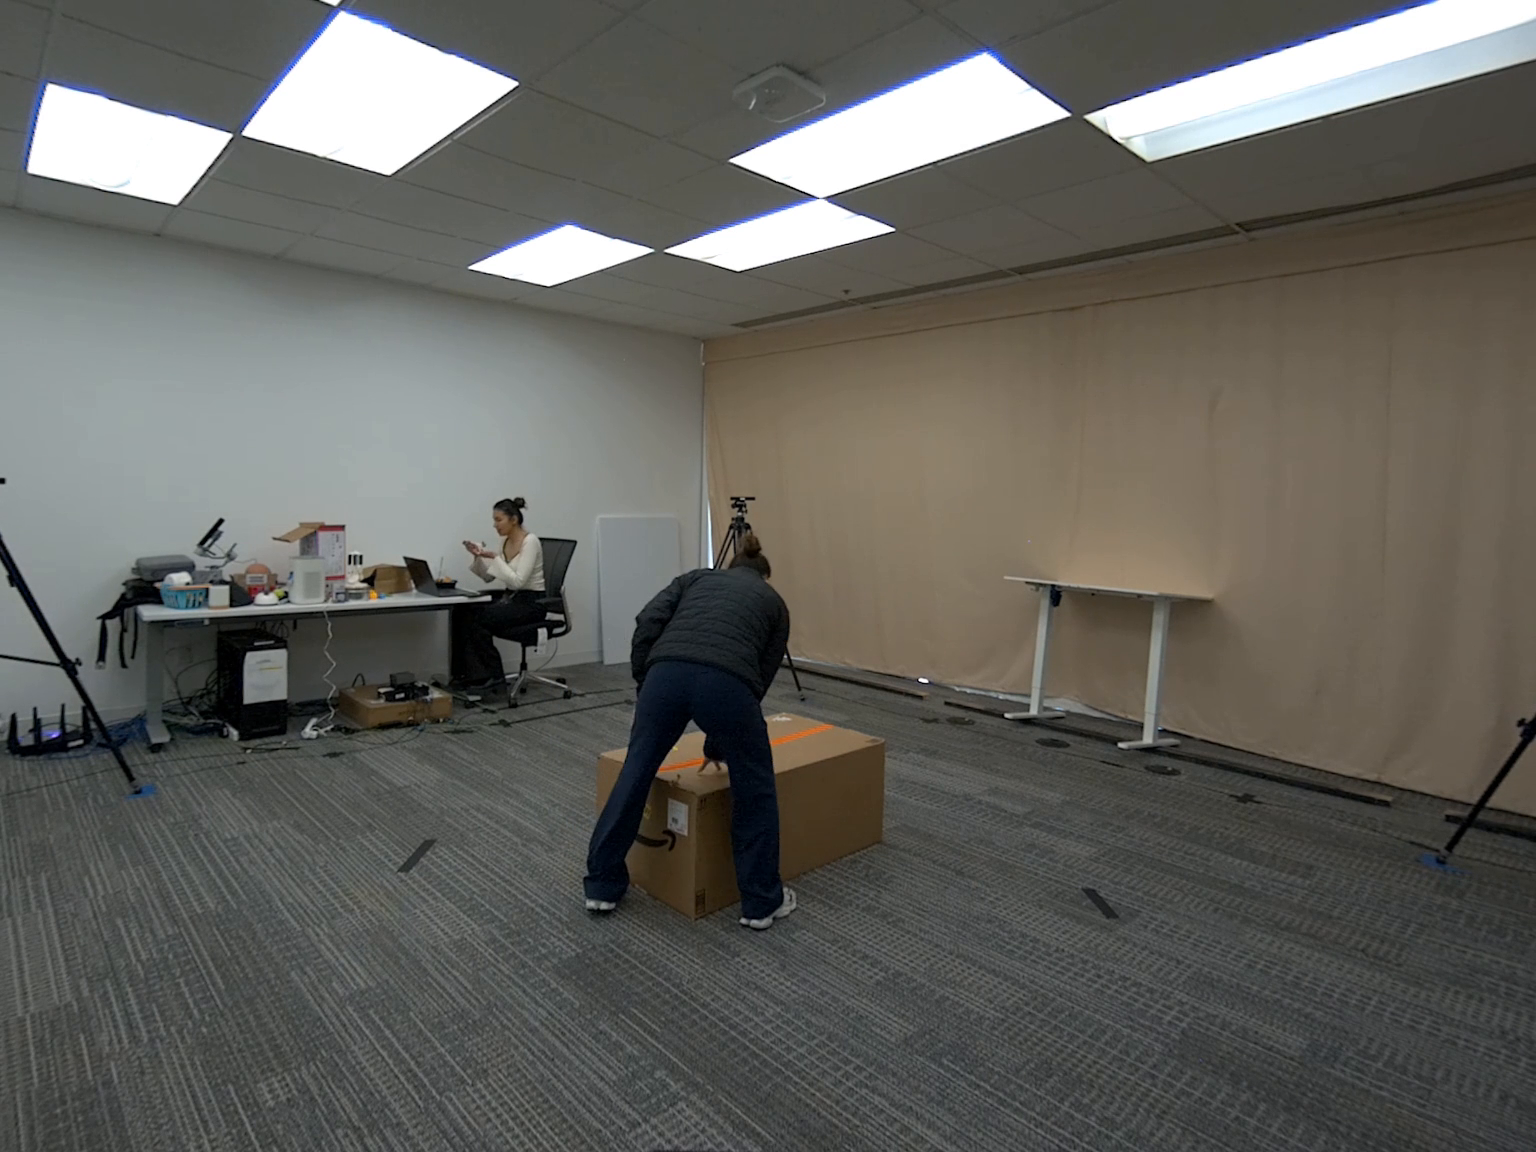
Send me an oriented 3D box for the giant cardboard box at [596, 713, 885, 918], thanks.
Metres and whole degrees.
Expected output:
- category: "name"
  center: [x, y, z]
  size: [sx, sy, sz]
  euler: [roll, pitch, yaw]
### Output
- category: "giant cardboard box"
  center: [-0.090, 0.885, 3.298]
  size: [1.003, 0.445, 0.599]
  euler: [-2, 7, -44]
